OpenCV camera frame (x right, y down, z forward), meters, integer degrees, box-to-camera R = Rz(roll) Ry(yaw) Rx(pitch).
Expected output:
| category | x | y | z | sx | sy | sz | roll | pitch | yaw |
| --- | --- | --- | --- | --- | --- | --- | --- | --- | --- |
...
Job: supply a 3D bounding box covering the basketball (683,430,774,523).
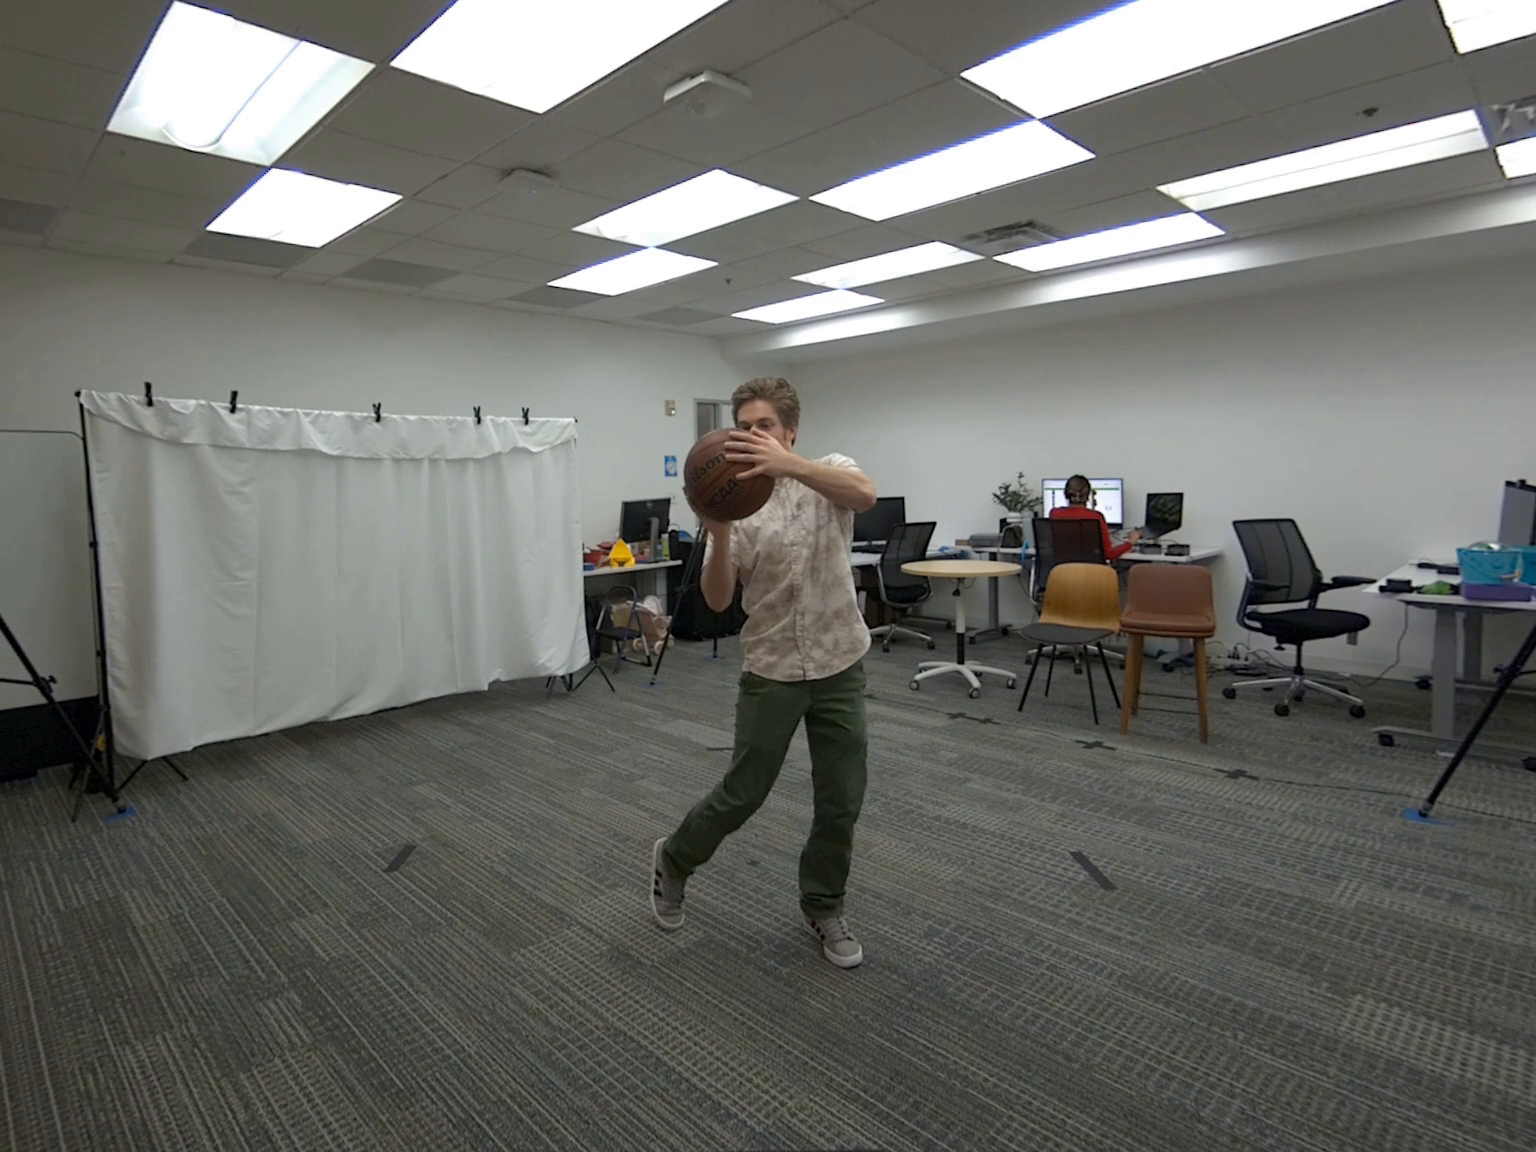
| category | x | y | z | sx | sy | sz | roll | pitch | yaw |
| --- | --- | --- | --- | --- | --- | --- | --- | --- | --- |
| basketball | -0.088 | -0.265 | 2.187 | 0.236 | 0.235 | 0.237 | -1 | 5 | -2 |
